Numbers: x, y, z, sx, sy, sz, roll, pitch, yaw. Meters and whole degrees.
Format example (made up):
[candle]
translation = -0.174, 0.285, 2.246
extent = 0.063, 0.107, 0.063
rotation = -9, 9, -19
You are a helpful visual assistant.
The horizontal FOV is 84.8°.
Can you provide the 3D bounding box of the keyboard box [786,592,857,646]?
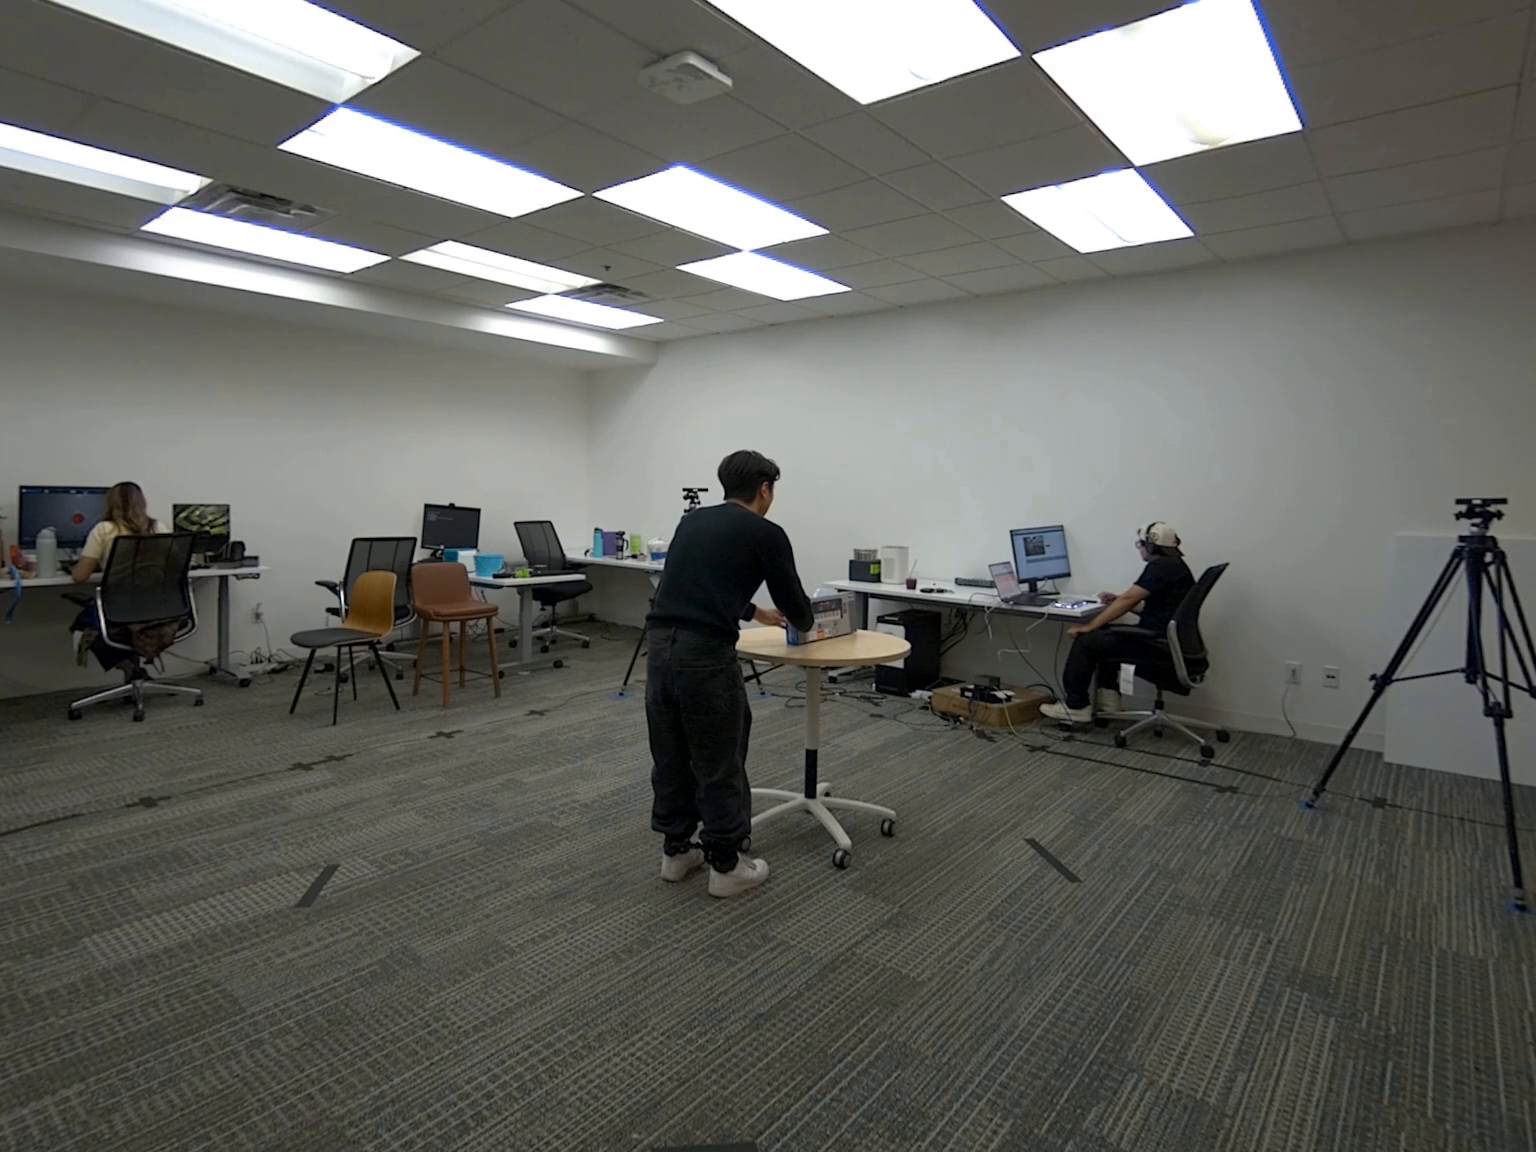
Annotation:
[keyboard box]
translation = 0.220, 0.170, 3.524
extent = 0.061, 0.176, 0.424
rotation = -3, 2, 40
